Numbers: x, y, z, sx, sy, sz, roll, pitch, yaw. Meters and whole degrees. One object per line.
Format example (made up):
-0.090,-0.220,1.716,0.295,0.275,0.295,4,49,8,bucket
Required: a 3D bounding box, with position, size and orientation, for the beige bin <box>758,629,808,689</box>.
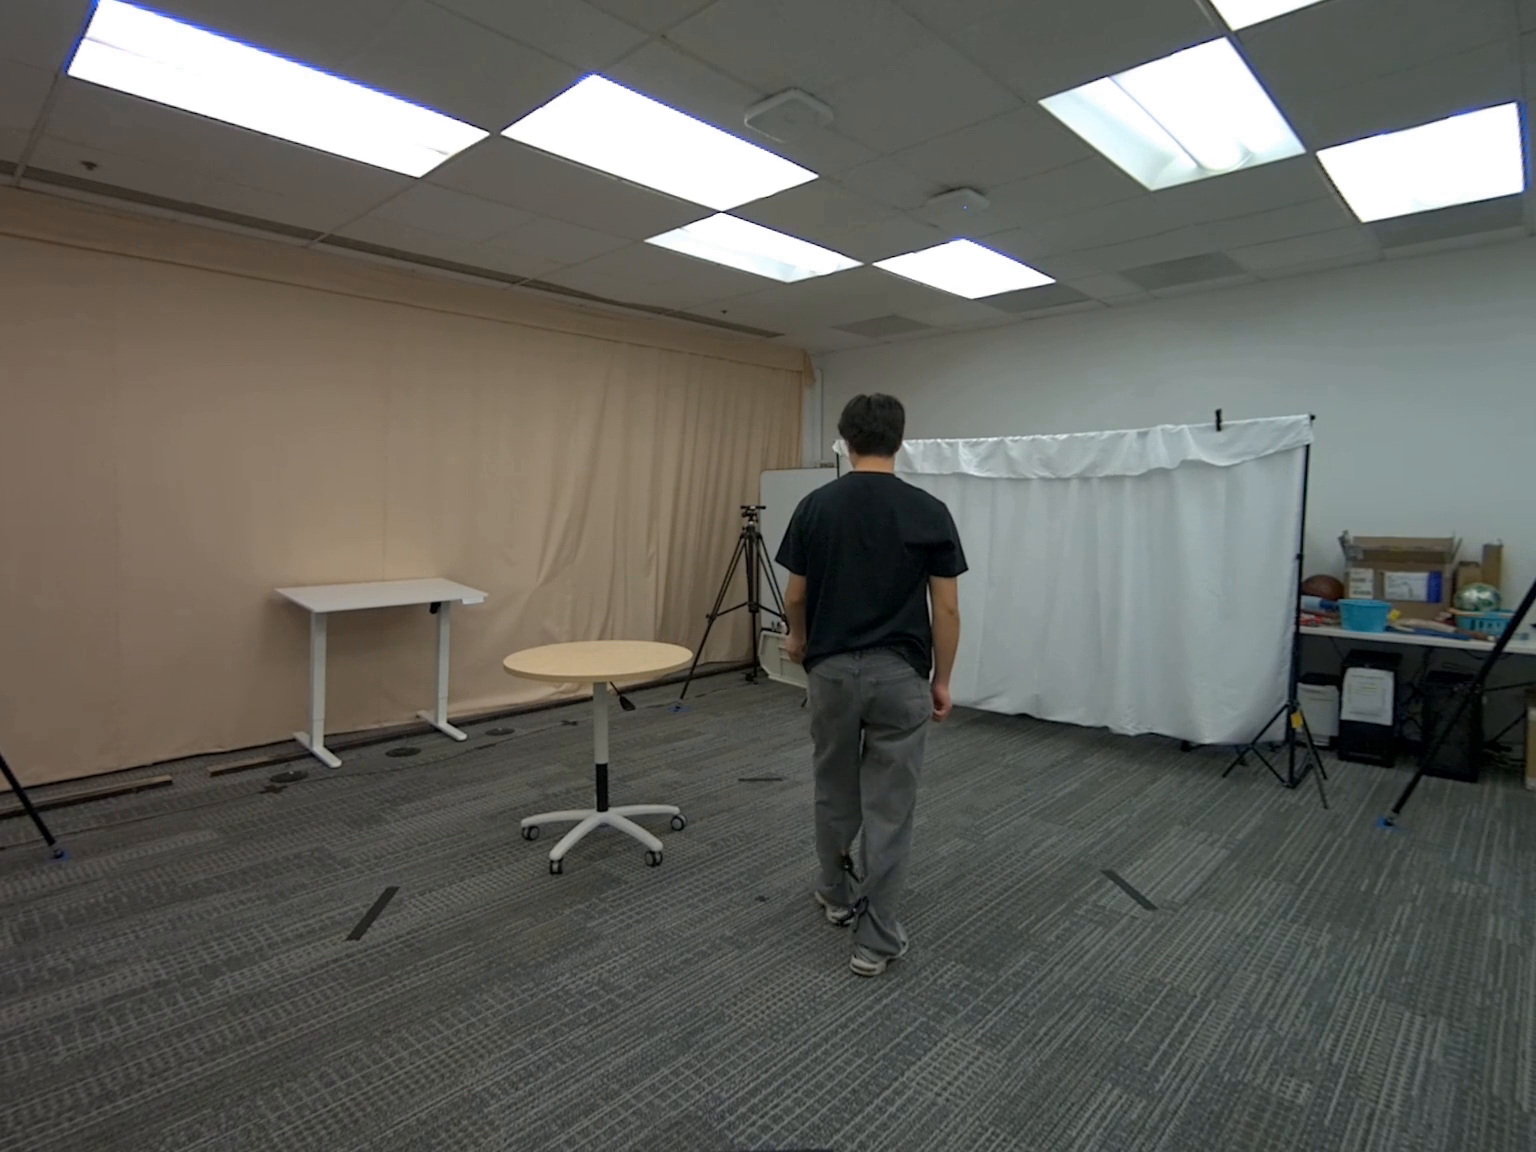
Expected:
0.241,0.282,3.146,0.411,0.188,0.389,-7,8,-35,beige bin
